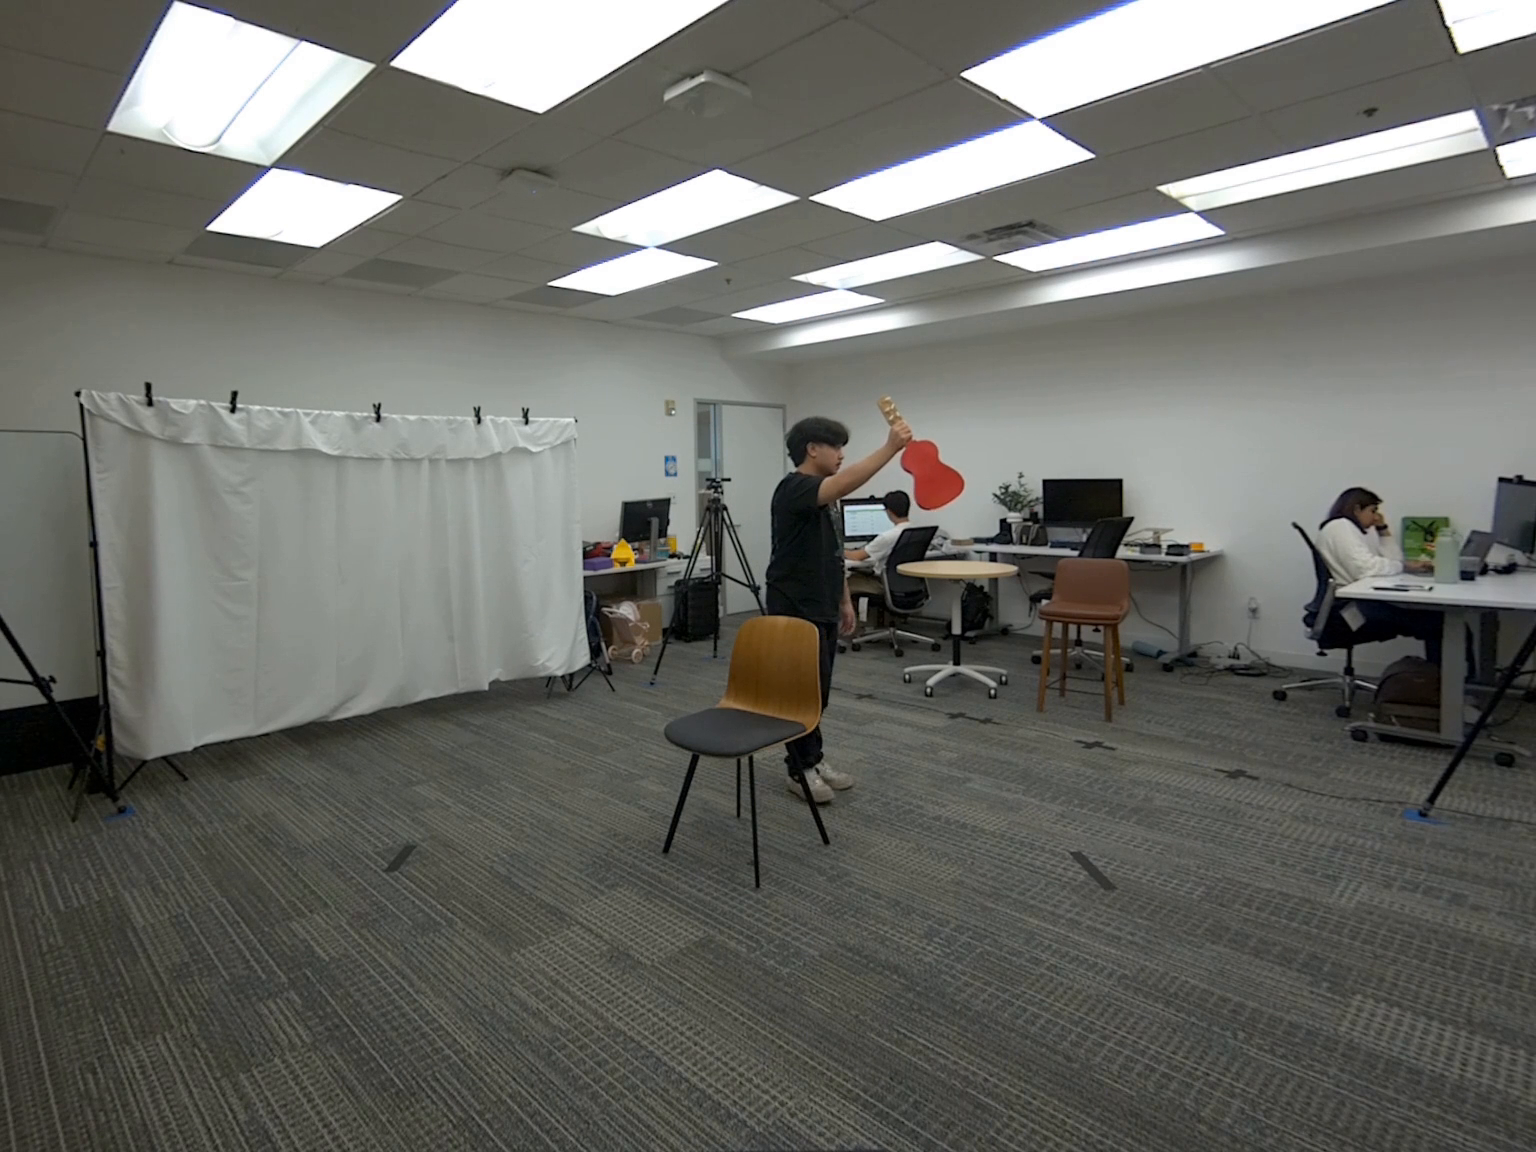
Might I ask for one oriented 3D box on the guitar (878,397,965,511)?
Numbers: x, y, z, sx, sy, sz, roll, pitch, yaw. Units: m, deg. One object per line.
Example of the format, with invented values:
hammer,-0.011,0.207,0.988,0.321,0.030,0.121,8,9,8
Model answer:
guitar,0.548,-0.478,3.355,0.193,0.504,0.070,-38,-9,3
